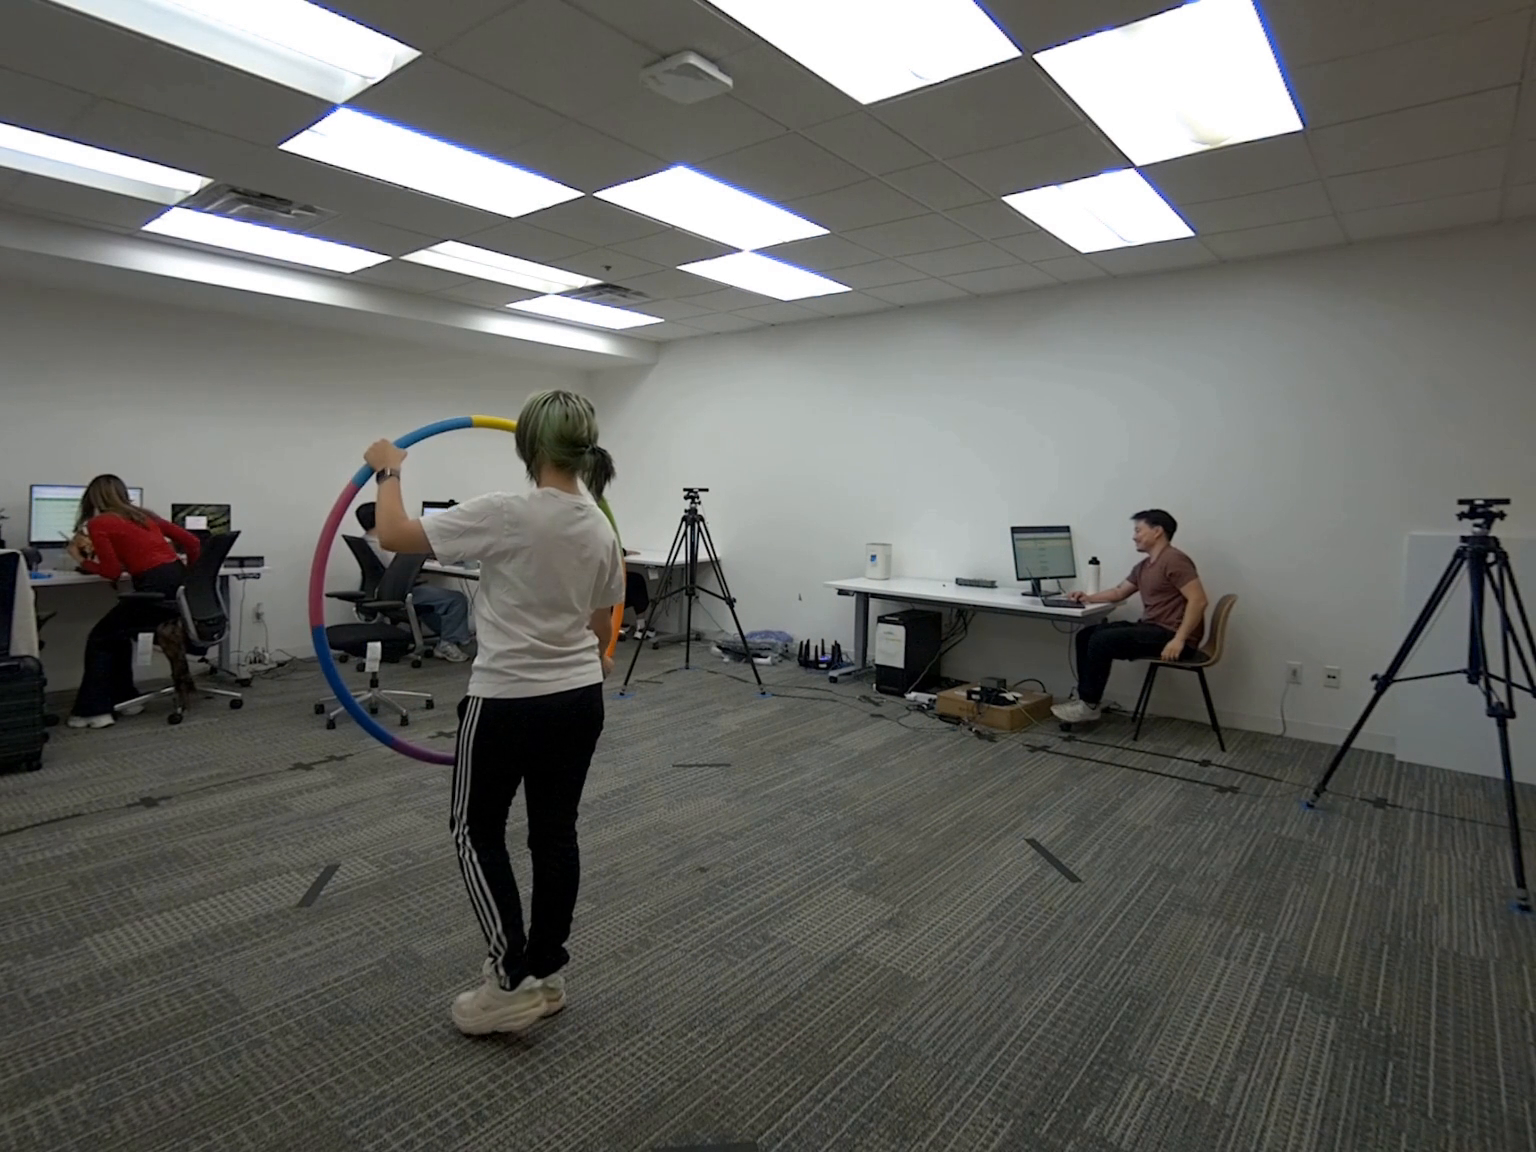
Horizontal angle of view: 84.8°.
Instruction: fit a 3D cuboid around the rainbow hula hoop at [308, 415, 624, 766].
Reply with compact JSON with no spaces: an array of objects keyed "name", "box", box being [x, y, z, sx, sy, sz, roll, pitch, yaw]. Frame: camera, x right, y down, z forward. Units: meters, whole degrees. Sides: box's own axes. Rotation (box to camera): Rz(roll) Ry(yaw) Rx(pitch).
[{"name":"rainbow hula hoop","box":[-0.808,0.038,2.434,0.949,0.977,0.037,-3,3,-45]}]
